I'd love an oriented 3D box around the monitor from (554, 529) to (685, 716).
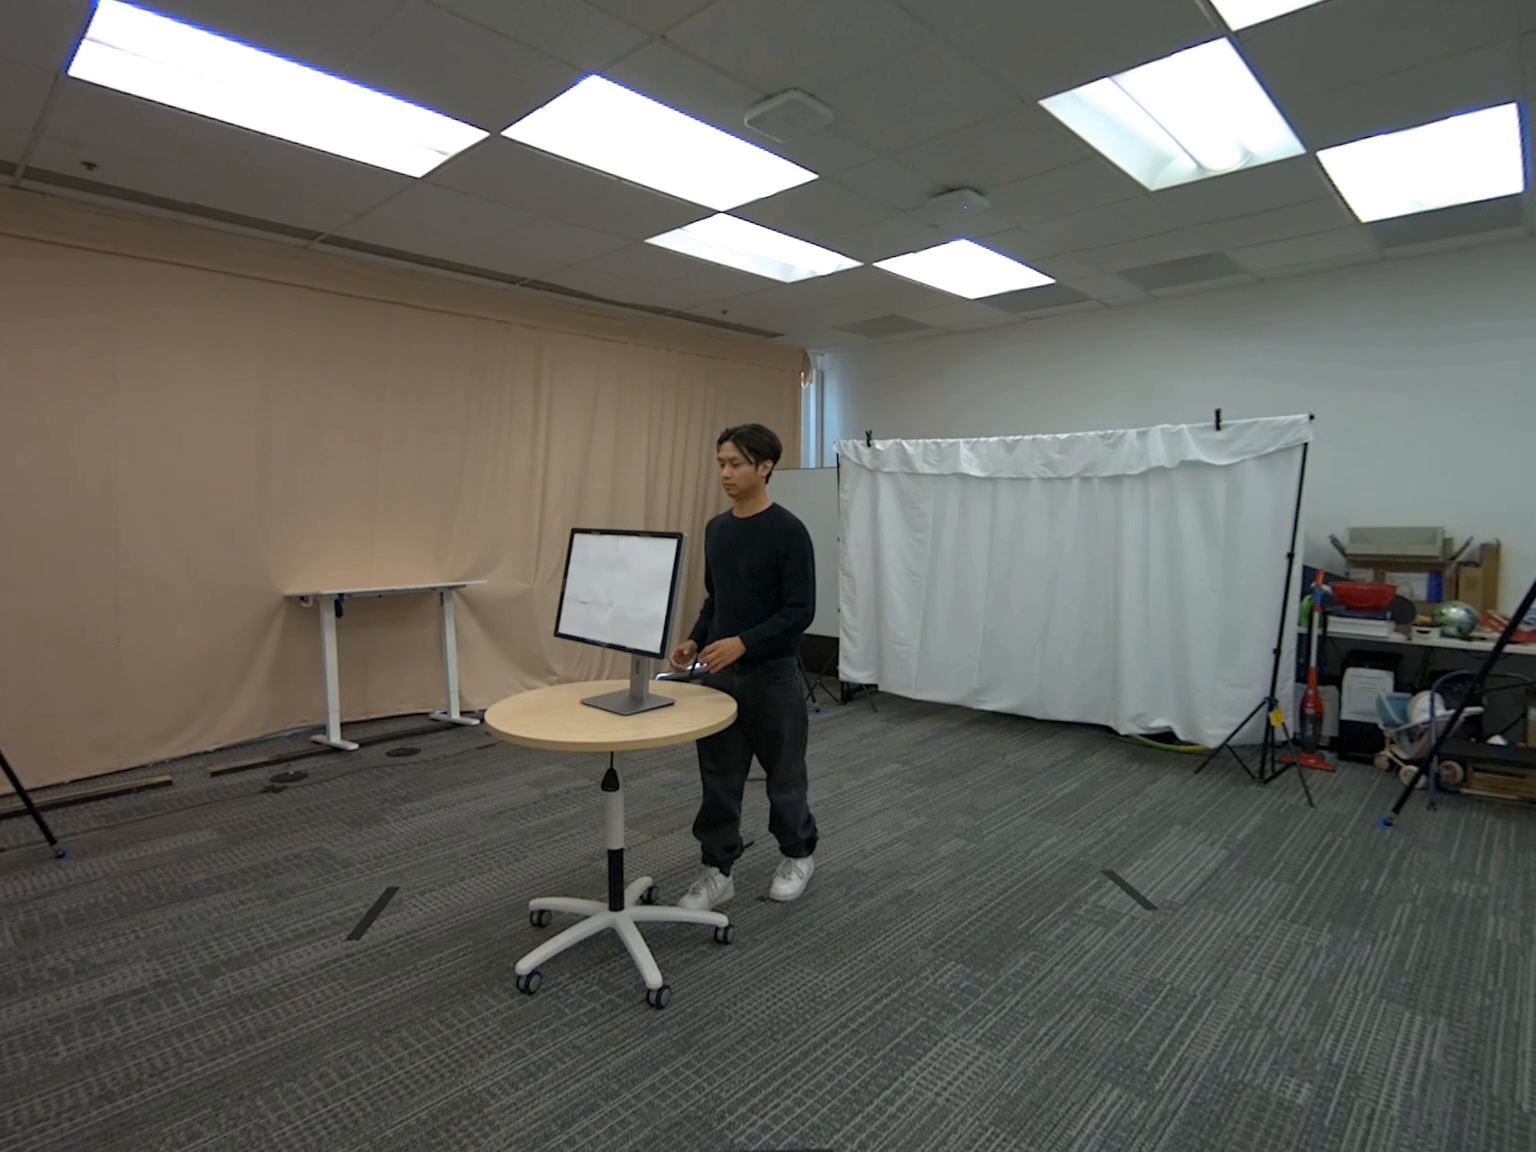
[{"bbox_3d":[-0.442,0.129,2.604,0.548,0.513,0.169,6,11,43],"label":"monitor"}]
